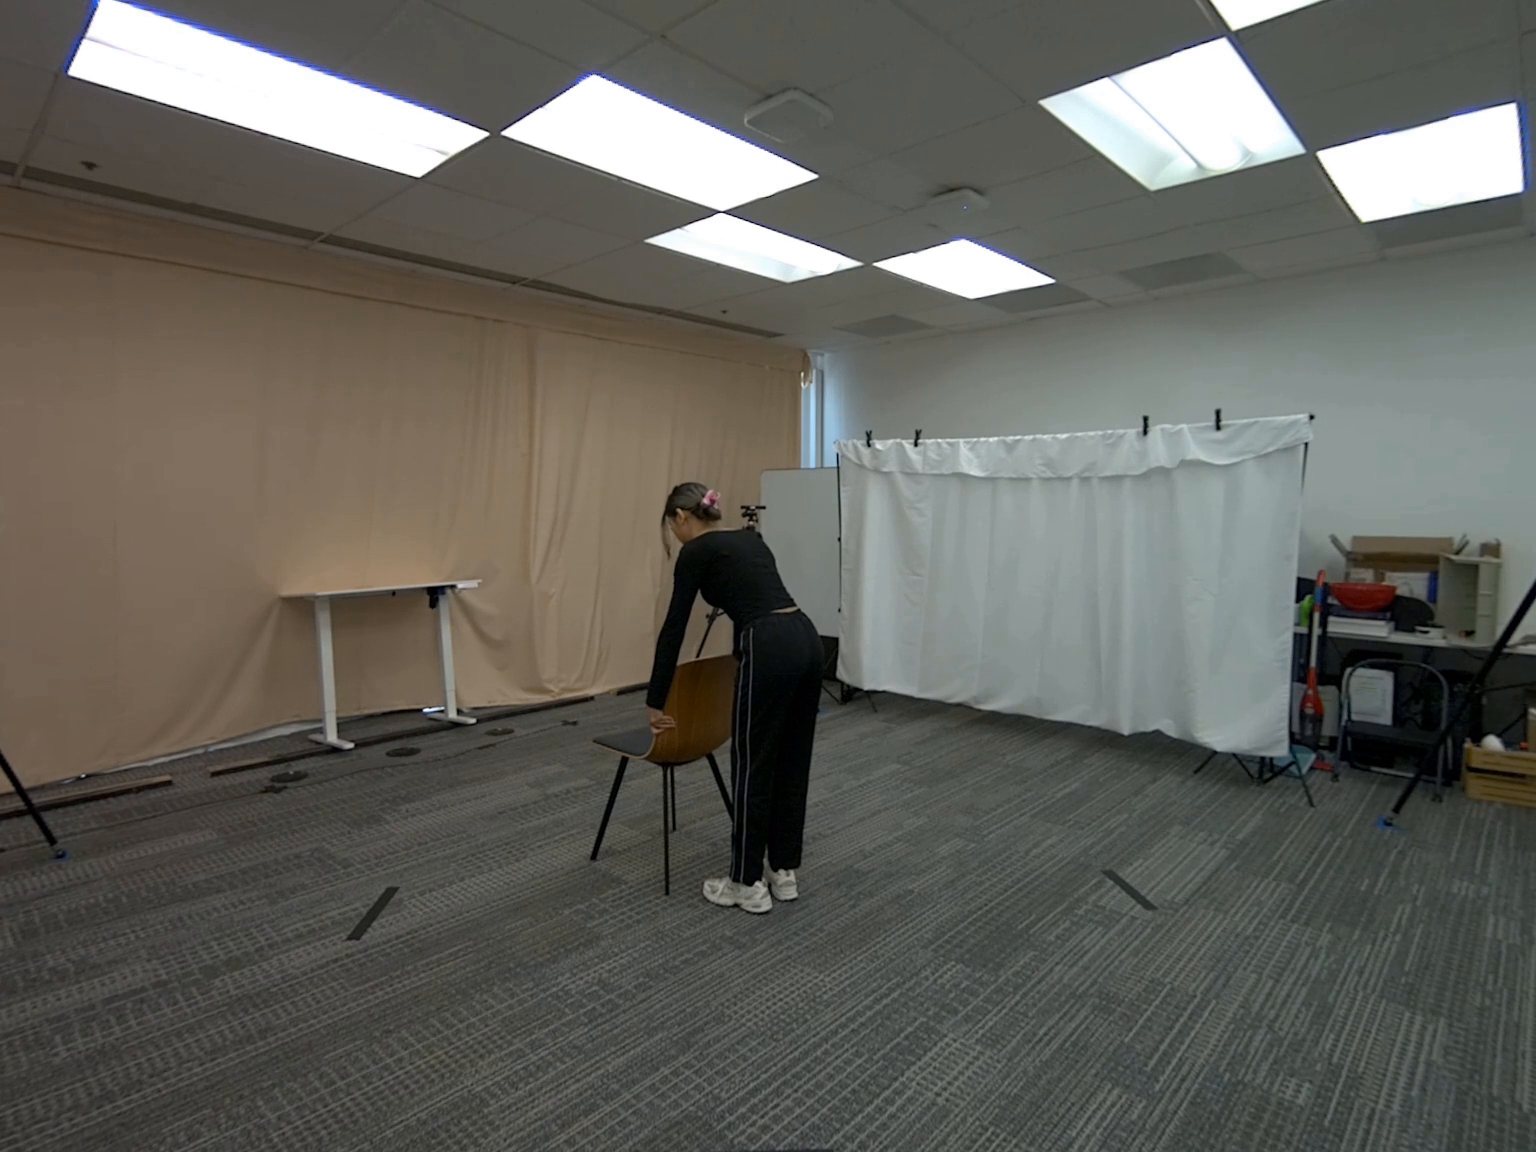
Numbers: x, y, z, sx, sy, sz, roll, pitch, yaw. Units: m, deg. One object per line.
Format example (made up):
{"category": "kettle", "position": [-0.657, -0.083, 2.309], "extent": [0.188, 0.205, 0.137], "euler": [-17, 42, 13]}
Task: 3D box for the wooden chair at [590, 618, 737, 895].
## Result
{"category": "wooden chair", "position": [-0.396, 0.692, 3.304], "extent": [0.541, 0.874, 0.463], "euler": [8, 9, 43]}
